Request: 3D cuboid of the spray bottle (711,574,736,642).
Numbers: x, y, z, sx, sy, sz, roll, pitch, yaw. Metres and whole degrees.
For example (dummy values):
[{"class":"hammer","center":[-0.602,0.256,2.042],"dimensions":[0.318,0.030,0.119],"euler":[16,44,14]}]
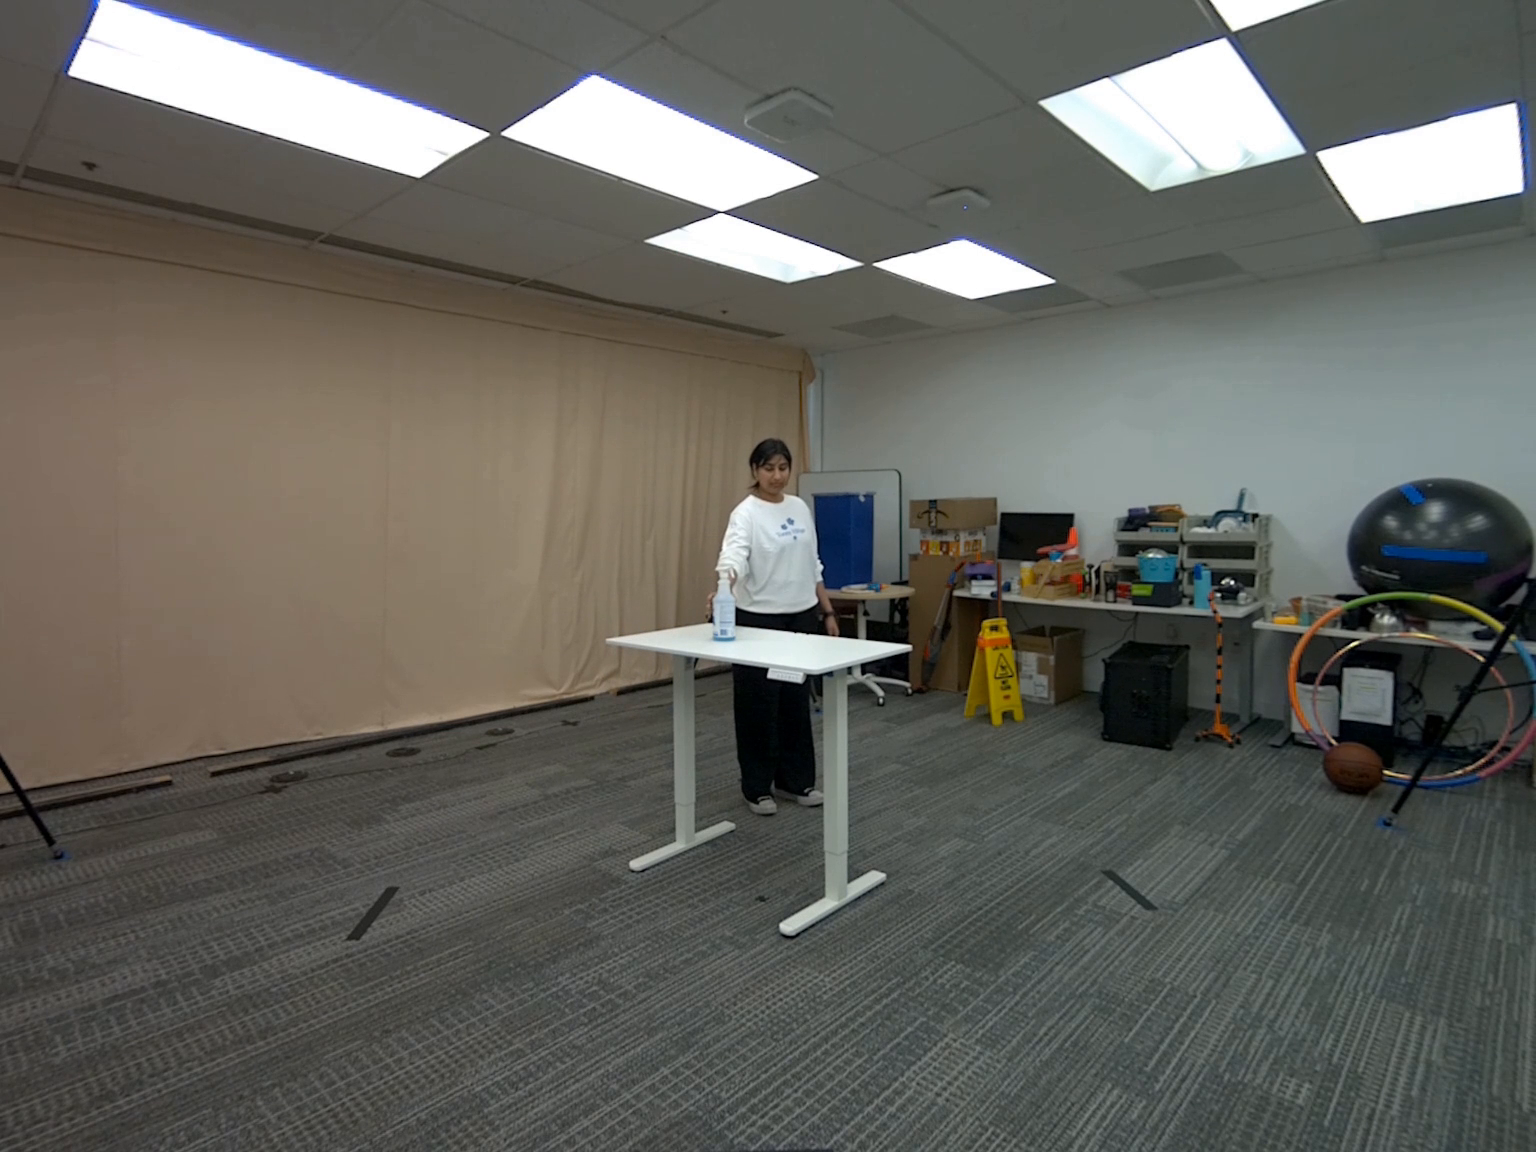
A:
[{"class":"spray bottle","center":[-0.167,0.098,3.216],"dimensions":[0.085,0.297,0.092],"euler":[-1,3,-26]}]
